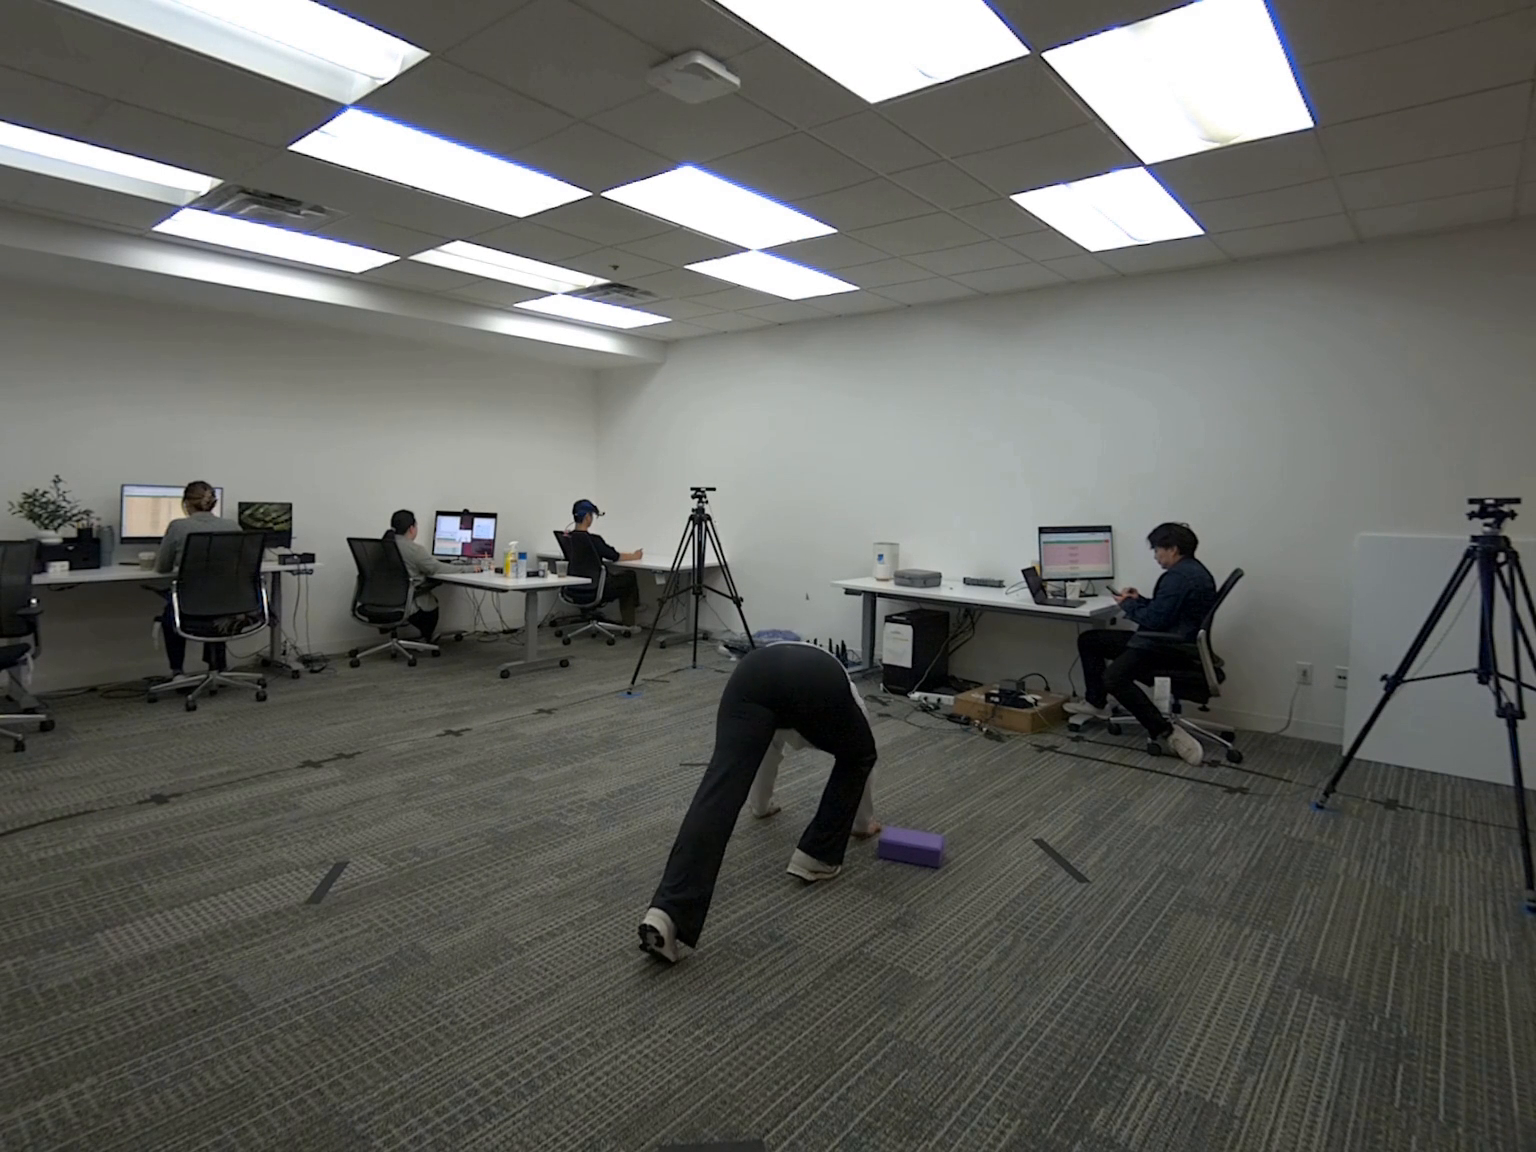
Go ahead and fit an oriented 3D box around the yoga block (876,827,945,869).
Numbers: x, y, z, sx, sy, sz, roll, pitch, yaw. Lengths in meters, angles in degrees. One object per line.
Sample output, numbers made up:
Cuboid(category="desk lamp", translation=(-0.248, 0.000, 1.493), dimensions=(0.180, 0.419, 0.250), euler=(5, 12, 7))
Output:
Cuboid(category="yoga block", translation=(0.545, 1.030, 3.255), dimensions=(0.234, 0.076, 0.146), euler=(3, 4, 20))
